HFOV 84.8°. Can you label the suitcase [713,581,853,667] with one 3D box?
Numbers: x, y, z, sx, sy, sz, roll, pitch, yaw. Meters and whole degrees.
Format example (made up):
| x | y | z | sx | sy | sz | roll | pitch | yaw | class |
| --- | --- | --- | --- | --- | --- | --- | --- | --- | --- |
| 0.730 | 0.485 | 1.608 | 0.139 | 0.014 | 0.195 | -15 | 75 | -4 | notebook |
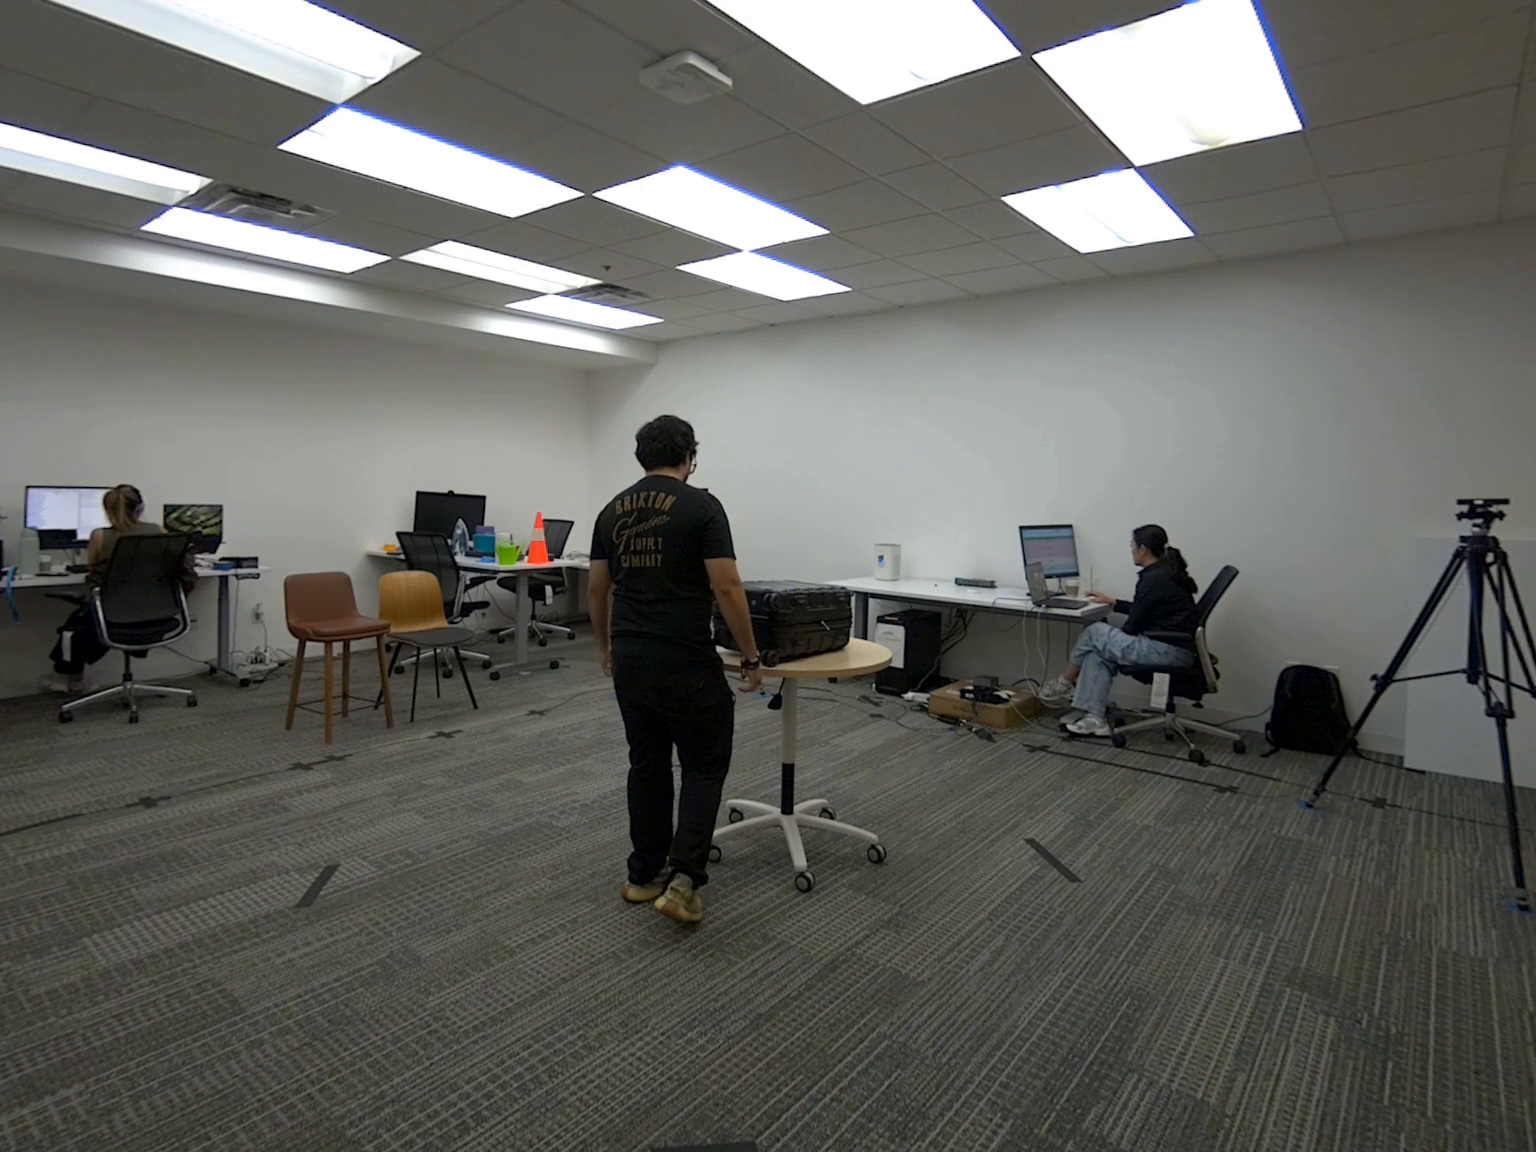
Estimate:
| x | y | z | sx | sy | sz | roll | pitch | yaw | class |
| --- | --- | --- | --- | --- | --- | --- | --- | --- | --- |
| 0.044 | 0.156 | 3.225 | 0.388 | 0.248 | 0.533 | 5 | 5 | 40 | suitcase |
